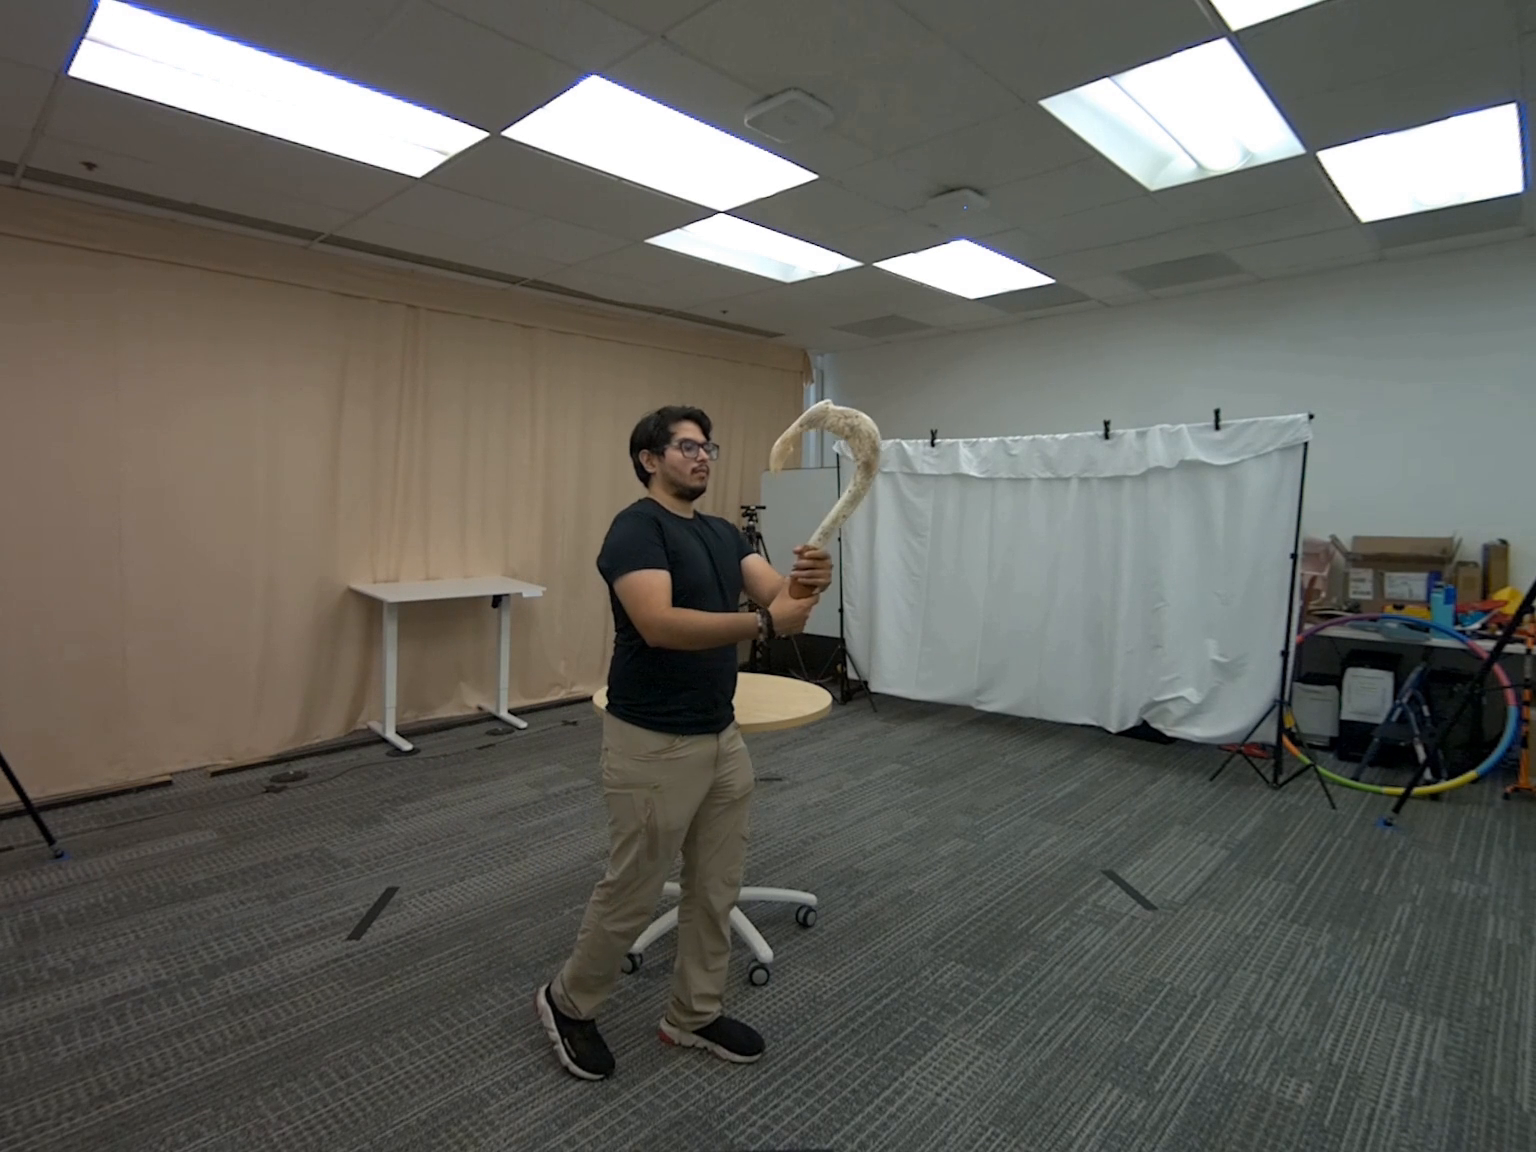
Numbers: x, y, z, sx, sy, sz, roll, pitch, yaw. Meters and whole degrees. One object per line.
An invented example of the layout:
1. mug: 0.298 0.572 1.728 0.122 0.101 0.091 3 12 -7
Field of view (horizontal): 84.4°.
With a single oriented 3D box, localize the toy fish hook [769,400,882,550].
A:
1. toy fish hook: 0.087 -0.129 1.831 0.227 0.506 0.048 22 8 8
